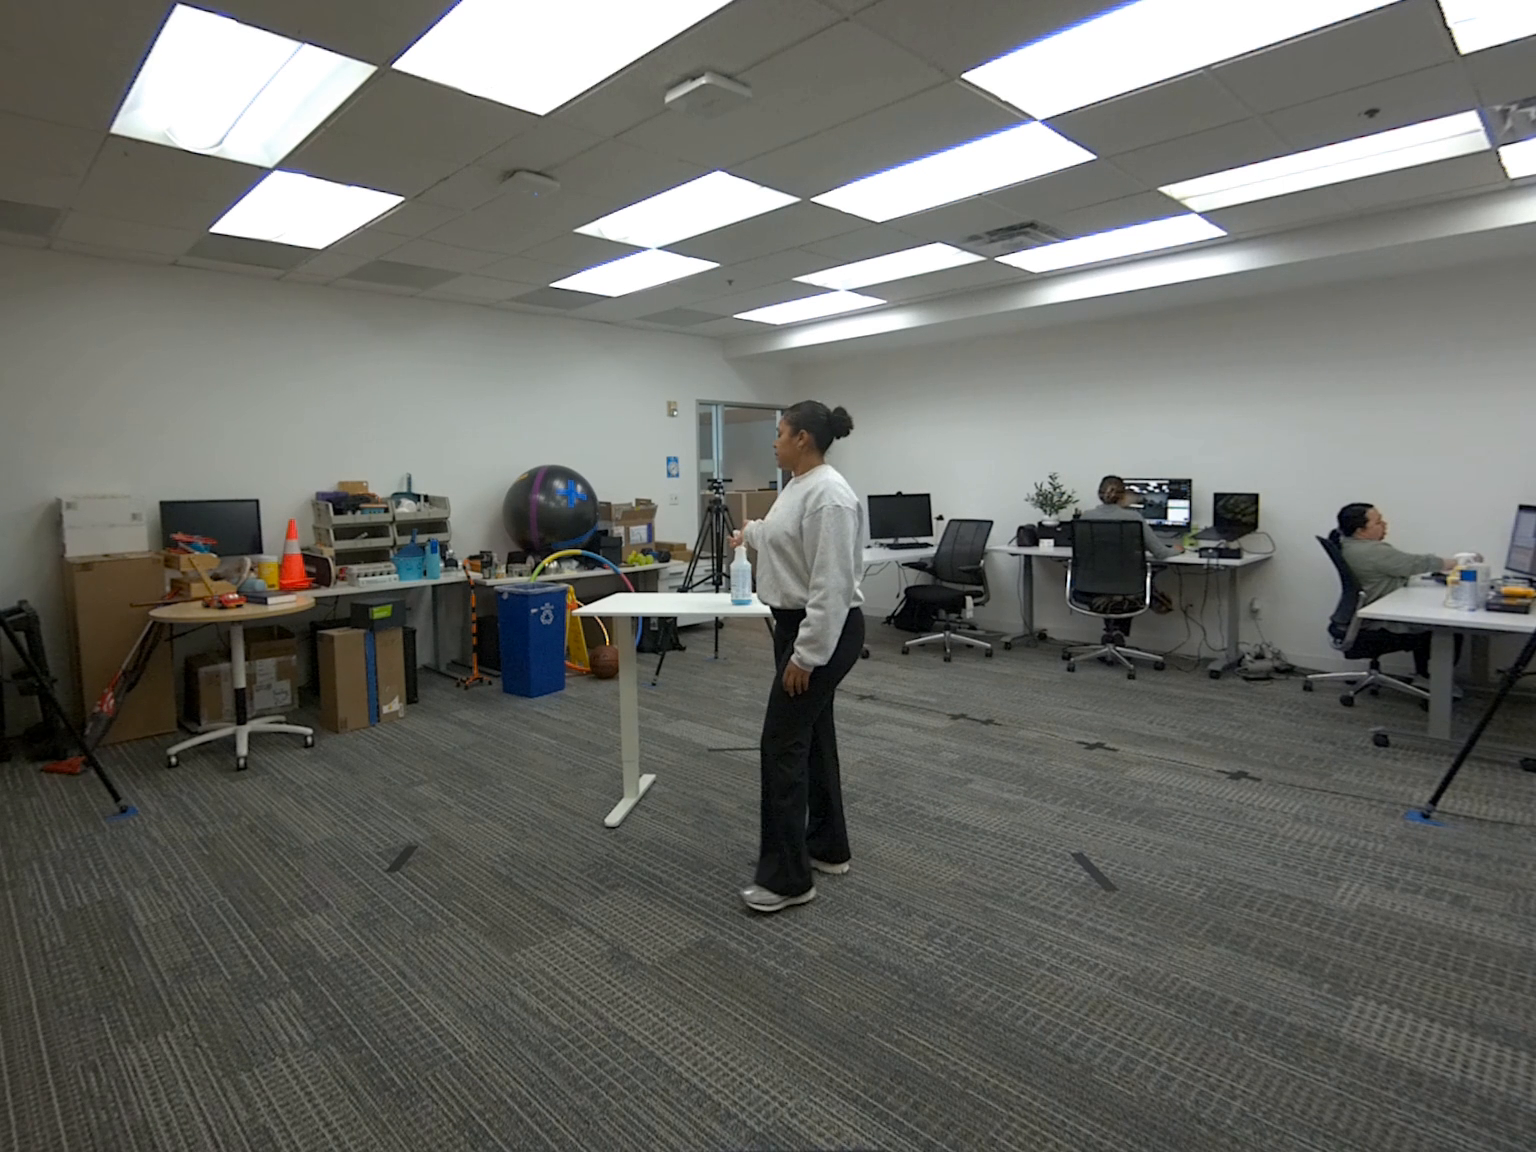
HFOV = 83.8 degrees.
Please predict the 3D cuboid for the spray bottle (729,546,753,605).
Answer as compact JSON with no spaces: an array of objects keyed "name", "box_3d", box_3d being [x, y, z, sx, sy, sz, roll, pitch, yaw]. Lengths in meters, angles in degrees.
[{"name":"spray bottle","box_3d":[-0.113,-0.042,3.525,0.087,0.298,0.089,1,-2,-42]}]
